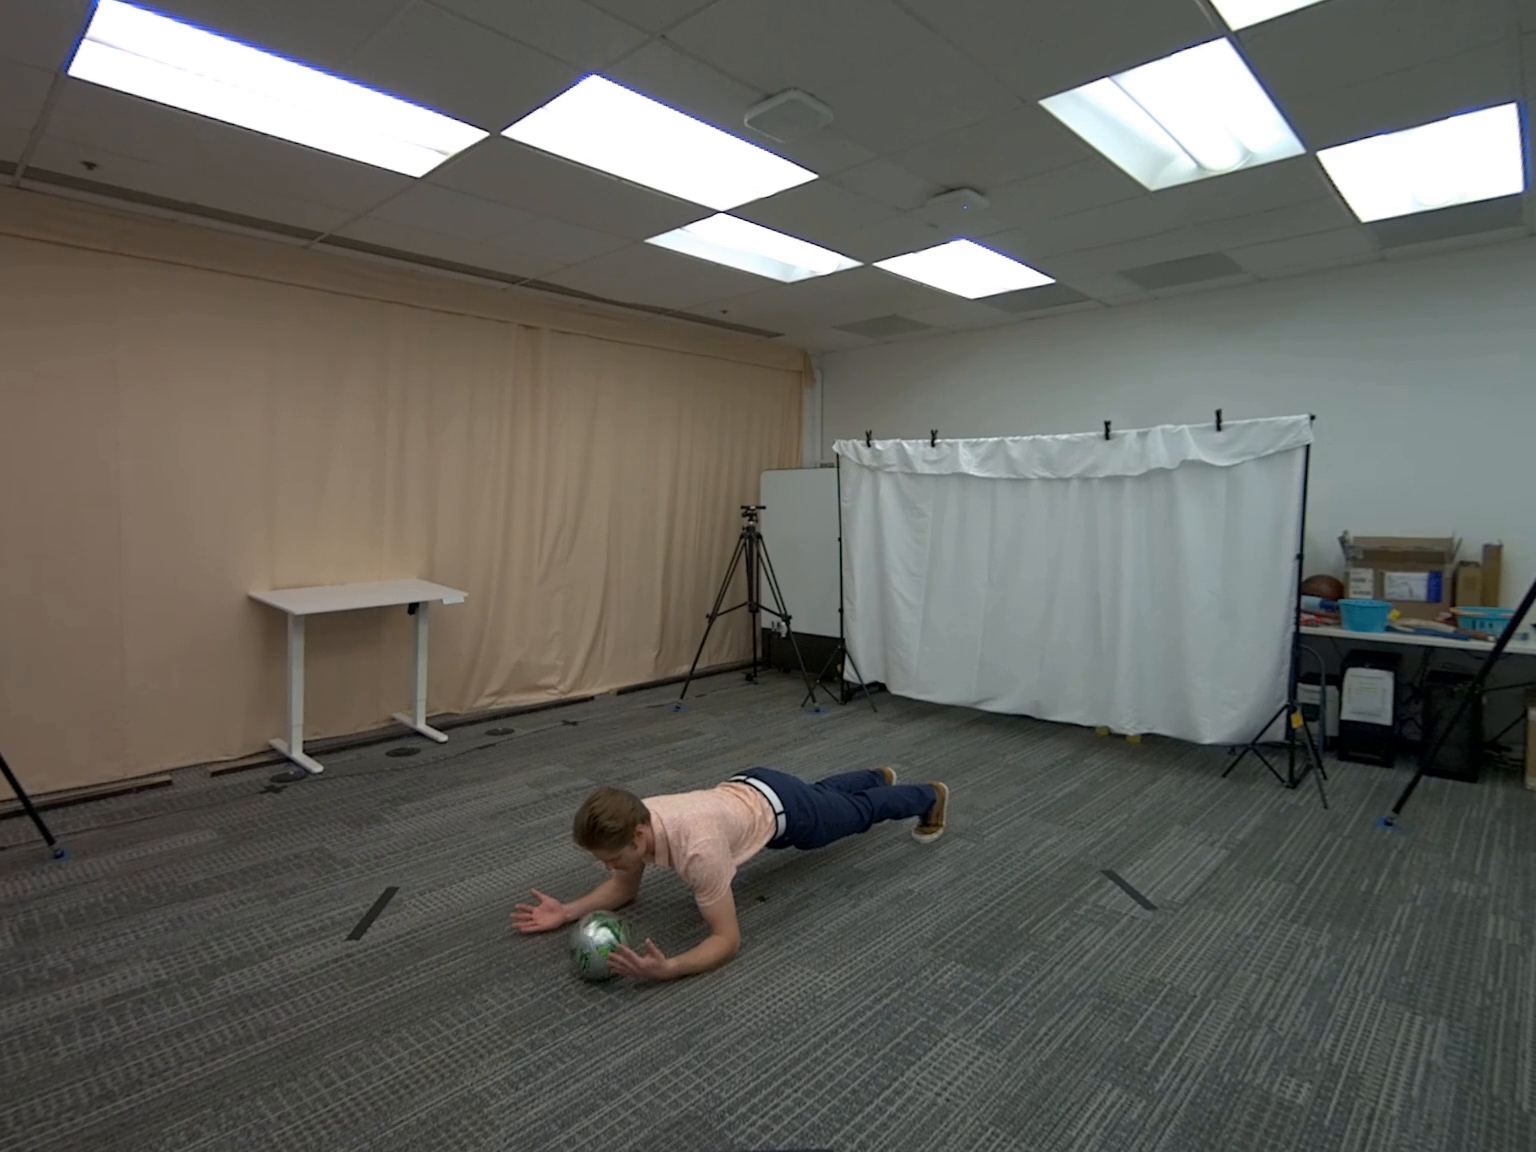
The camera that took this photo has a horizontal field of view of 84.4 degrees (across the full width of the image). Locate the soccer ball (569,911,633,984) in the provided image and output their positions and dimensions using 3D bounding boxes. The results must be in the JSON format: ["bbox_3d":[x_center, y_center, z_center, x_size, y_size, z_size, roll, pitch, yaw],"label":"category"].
[{"bbox_3d":[-0.499,1.097,2.504,0.187,0.187,0.188,0,4,-2],"label":"soccer ball"}]
